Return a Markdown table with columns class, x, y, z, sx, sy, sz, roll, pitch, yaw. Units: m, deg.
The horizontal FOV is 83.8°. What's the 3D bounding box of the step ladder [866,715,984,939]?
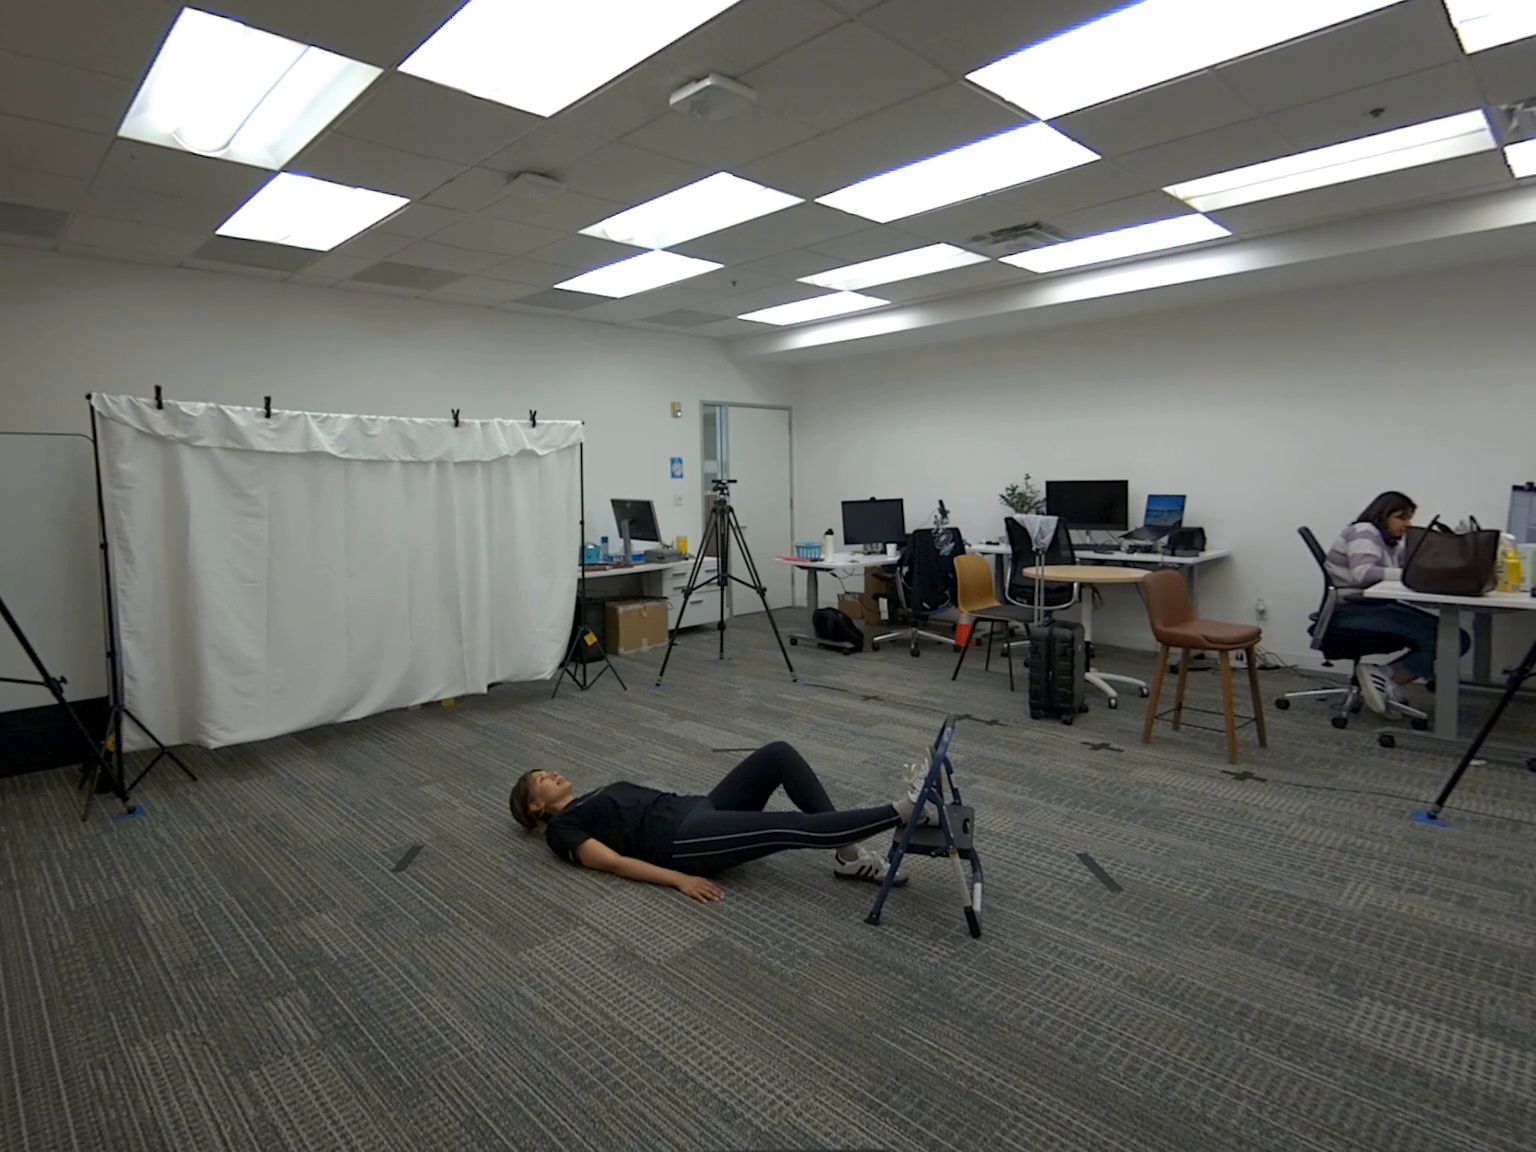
| class | x | y | z | sx | sy | sz | roll | pitch | yaw |
| --- | --- | --- | --- | --- | --- | --- | --- | --- | --- |
| step ladder | 0.529 | 0.771 | 2.799 | 0.355 | 0.604 | 0.425 | 0 | 4 | 16 |
